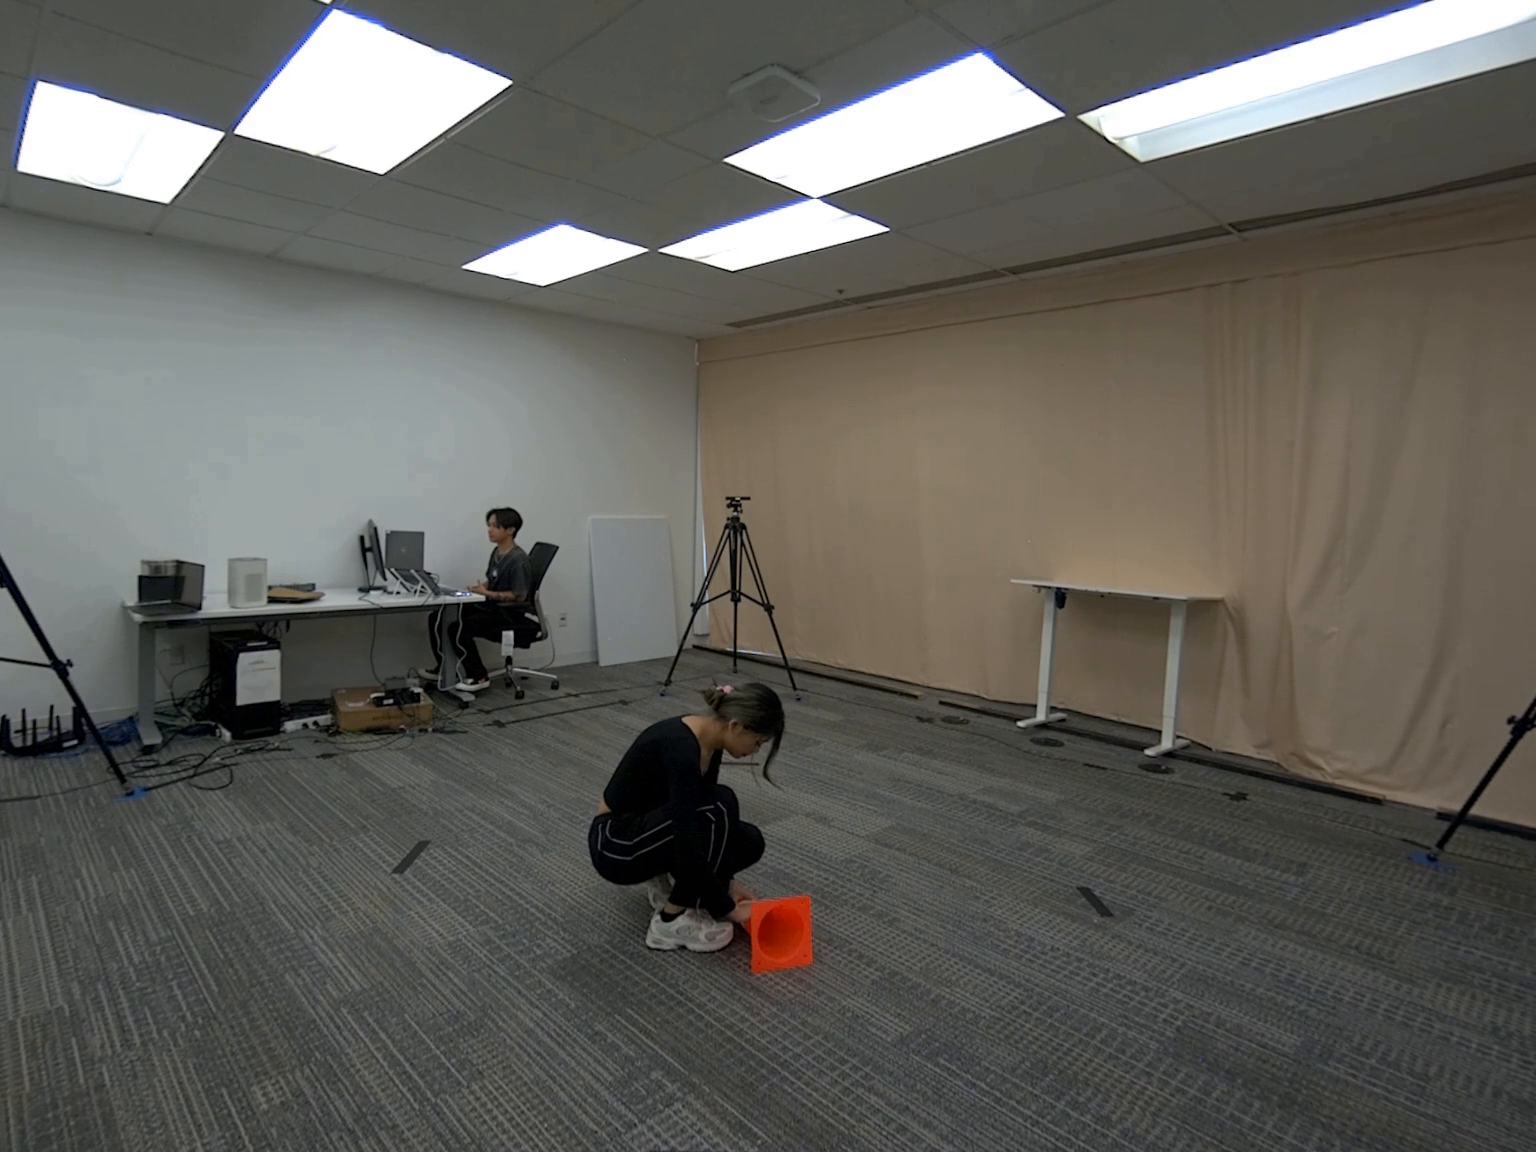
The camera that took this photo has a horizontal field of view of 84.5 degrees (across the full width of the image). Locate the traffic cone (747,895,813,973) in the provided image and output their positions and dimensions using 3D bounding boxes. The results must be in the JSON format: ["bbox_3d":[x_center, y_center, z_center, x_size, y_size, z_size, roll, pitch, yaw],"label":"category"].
[{"bbox_3d":[-0.045,1.091,2.685,0.199,0.206,0.388,4,-9,-25],"label":"traffic cone"}]
